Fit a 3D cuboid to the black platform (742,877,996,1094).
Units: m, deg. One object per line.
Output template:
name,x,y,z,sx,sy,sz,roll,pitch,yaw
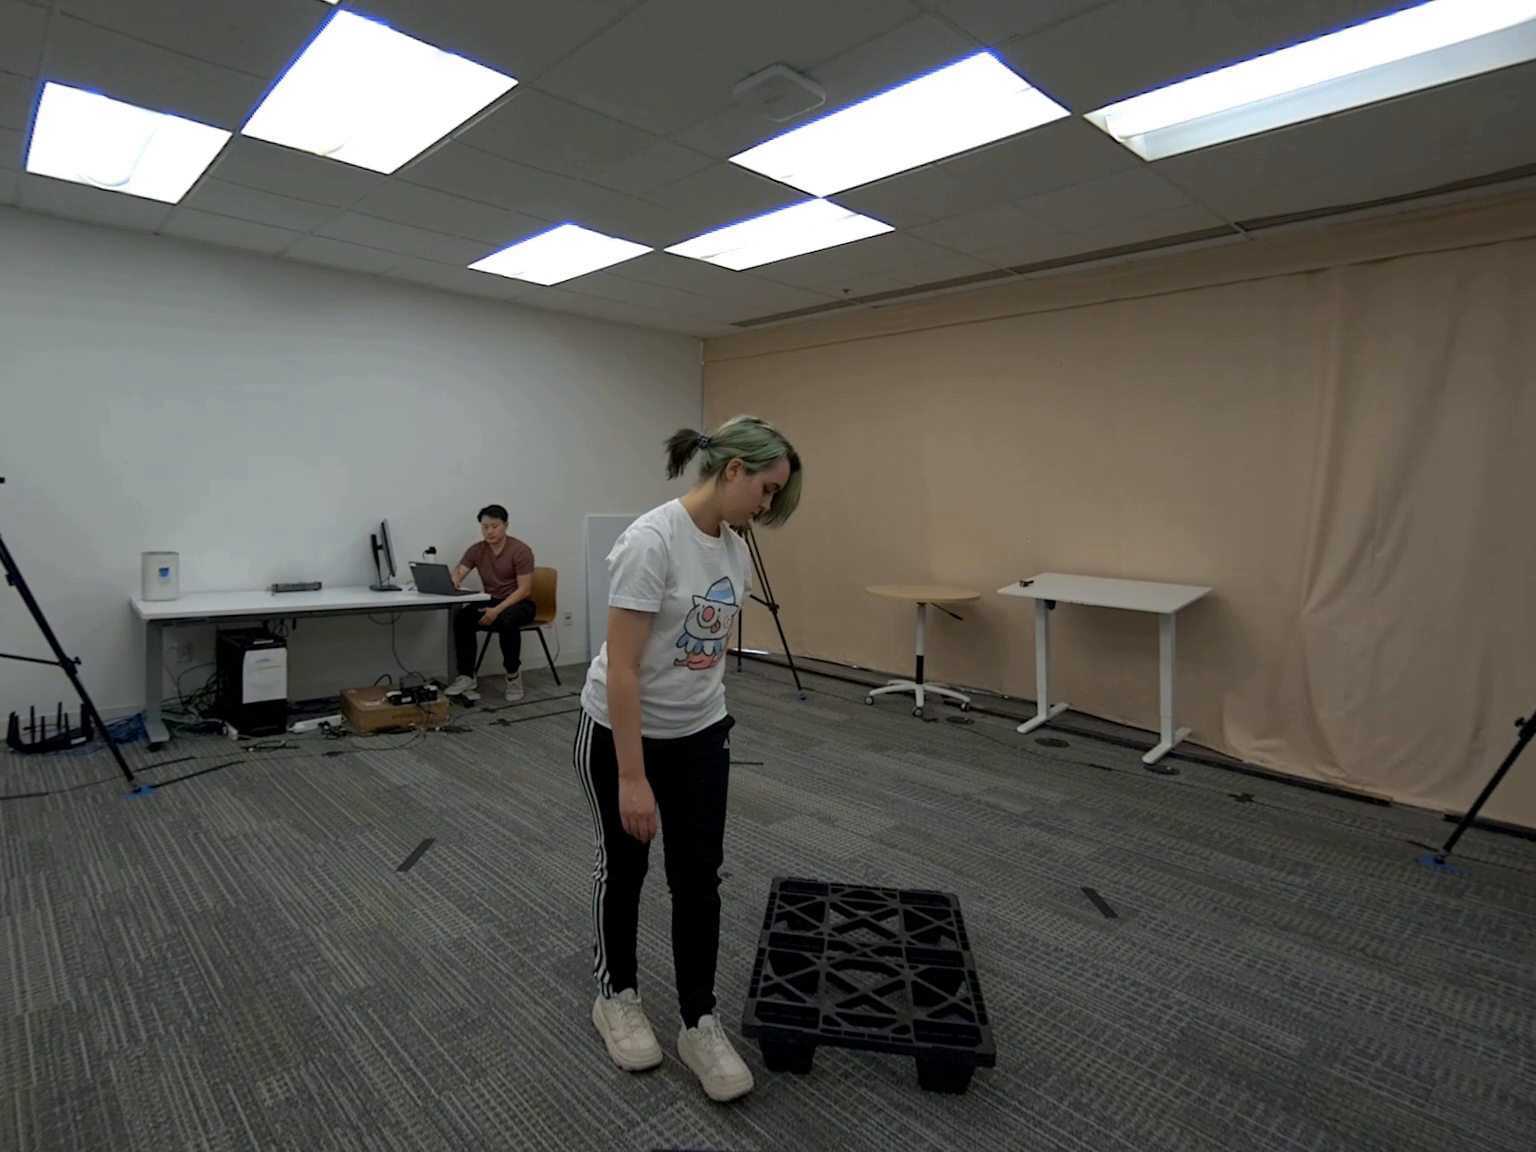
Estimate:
black platform,0.266,1.115,2.374,0.609,0.143,0.803,3,6,7
